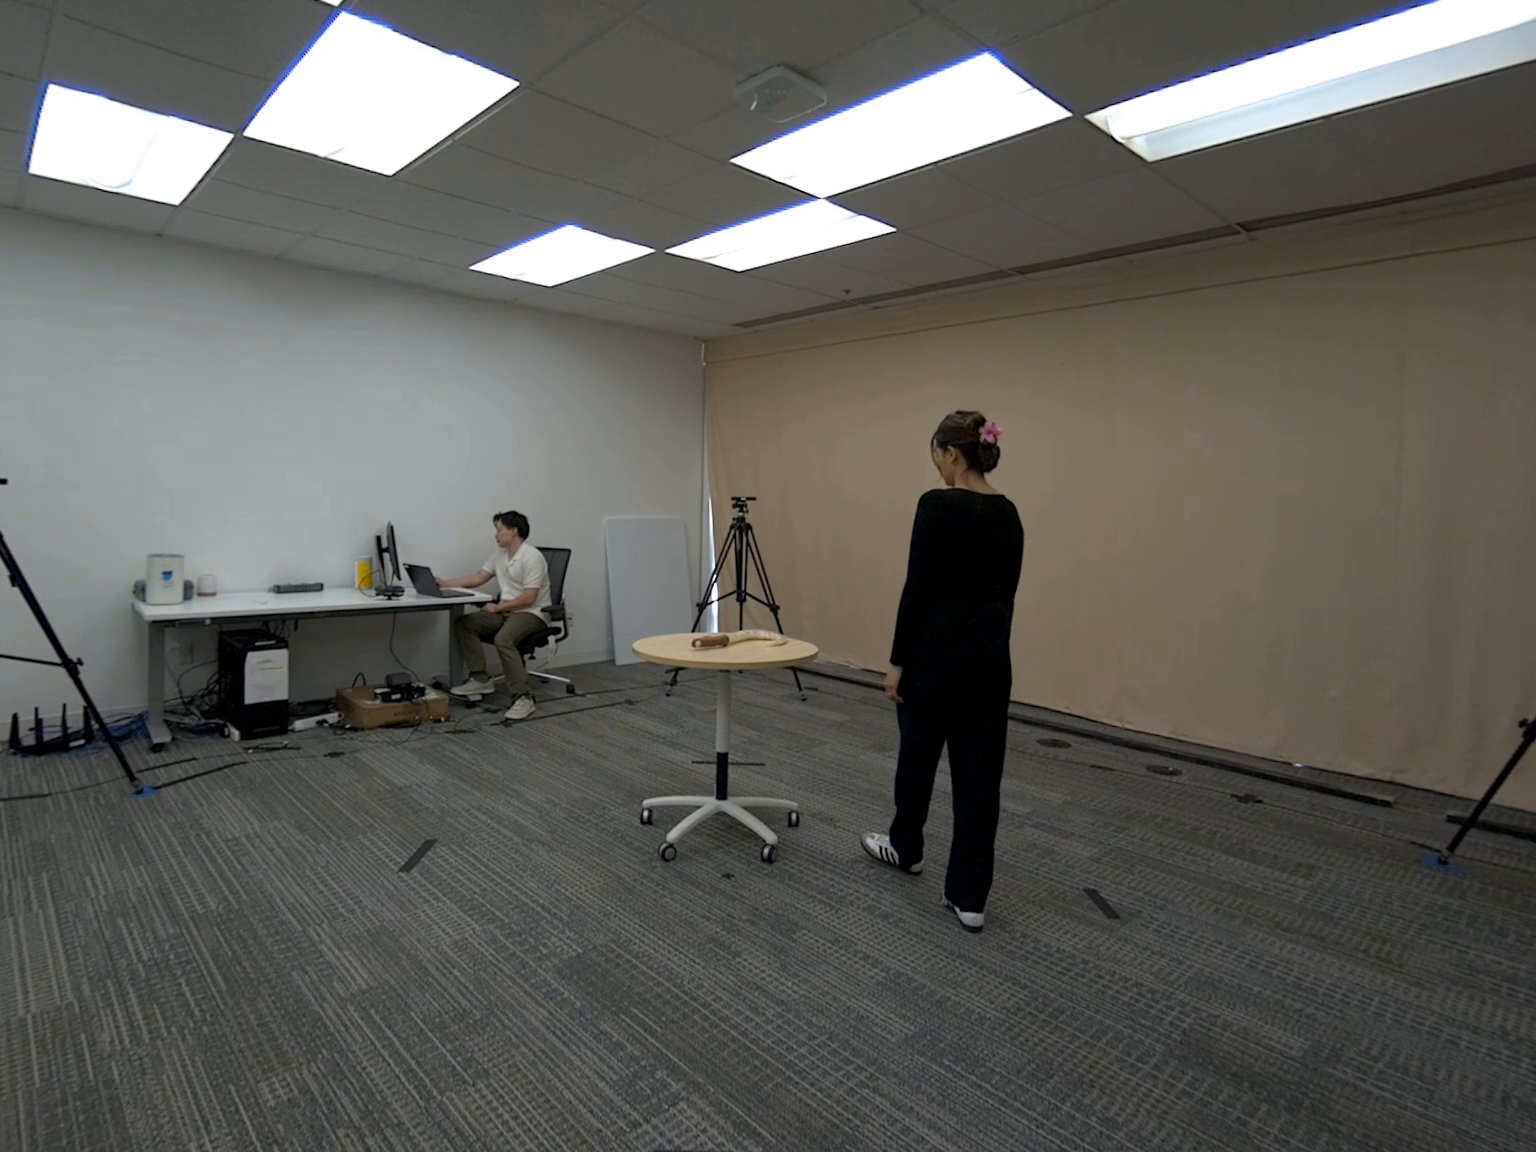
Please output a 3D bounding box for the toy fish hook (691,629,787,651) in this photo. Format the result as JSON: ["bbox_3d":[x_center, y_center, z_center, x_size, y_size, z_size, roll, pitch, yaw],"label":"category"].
[{"bbox_3d":[-0.115,0.268,3.505,0.230,0.048,0.496,5,5,36],"label":"toy fish hook"}]
